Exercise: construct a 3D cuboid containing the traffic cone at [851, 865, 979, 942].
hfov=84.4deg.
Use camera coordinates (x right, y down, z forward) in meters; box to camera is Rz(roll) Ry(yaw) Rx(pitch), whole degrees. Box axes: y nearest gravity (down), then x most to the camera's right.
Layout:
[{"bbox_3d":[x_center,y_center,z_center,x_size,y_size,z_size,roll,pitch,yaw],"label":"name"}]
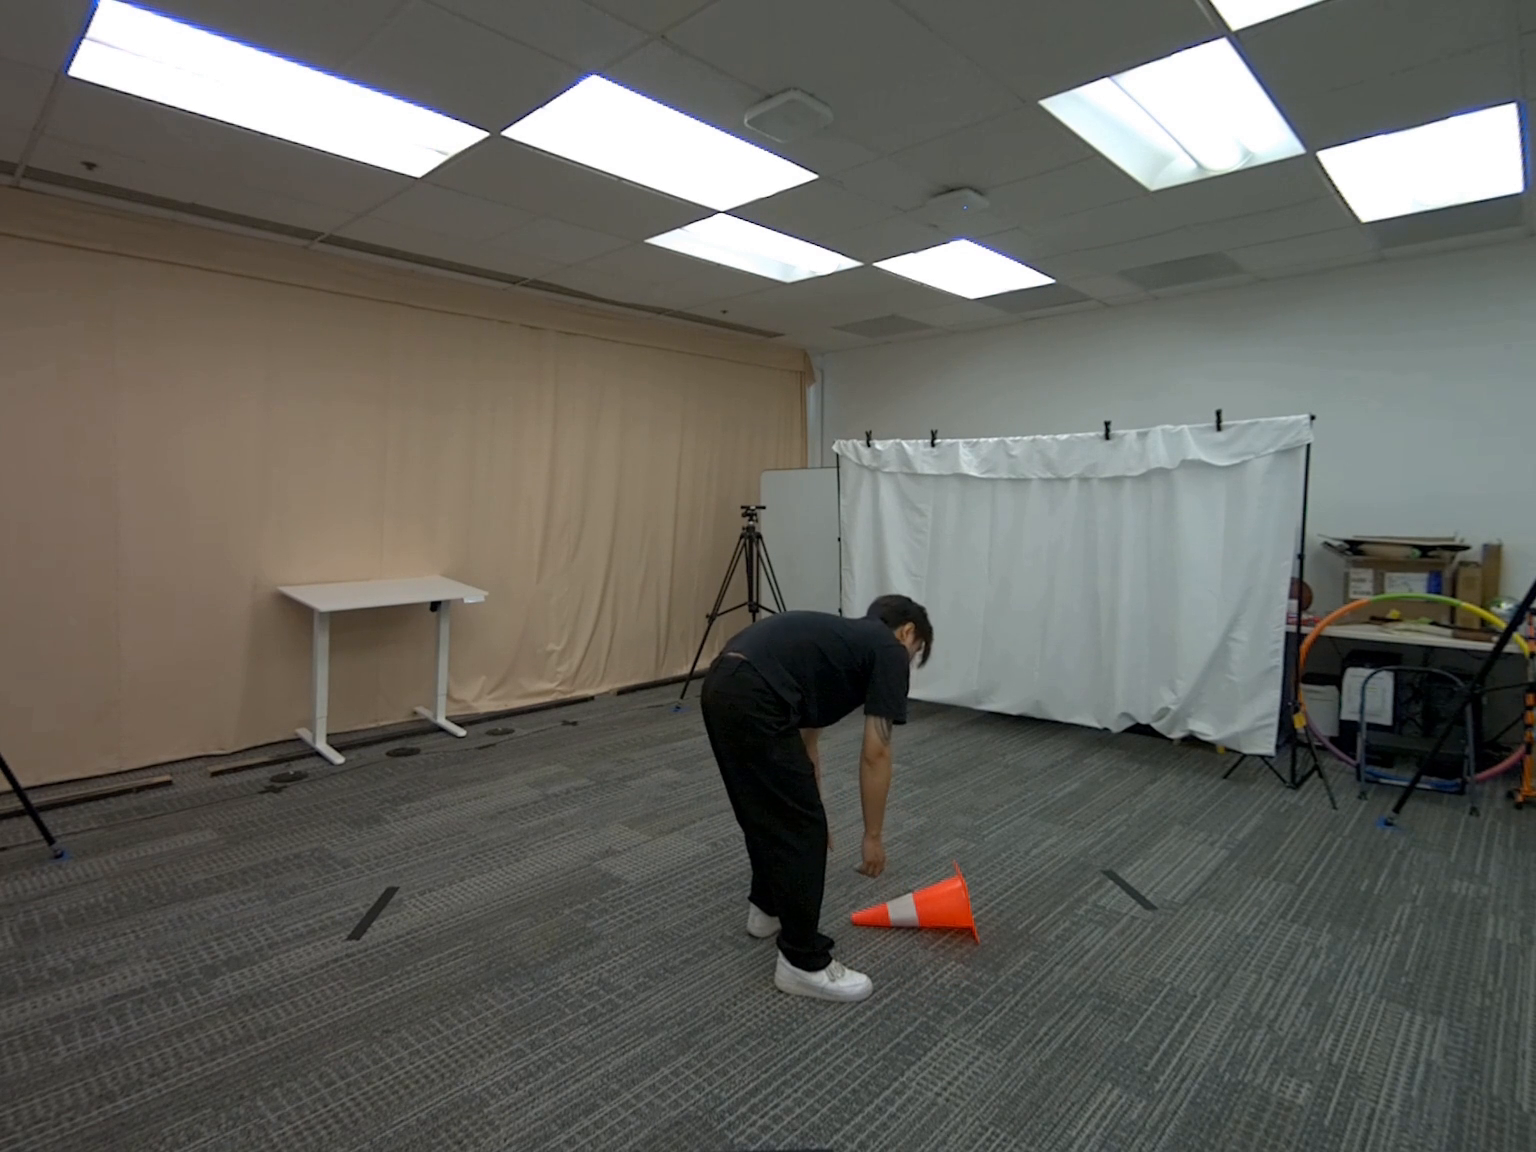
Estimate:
[{"bbox_3d":[0.470,1.120,2.767,0.385,0.203,0.205,-15,4,4],"label":"traffic cone"}]
